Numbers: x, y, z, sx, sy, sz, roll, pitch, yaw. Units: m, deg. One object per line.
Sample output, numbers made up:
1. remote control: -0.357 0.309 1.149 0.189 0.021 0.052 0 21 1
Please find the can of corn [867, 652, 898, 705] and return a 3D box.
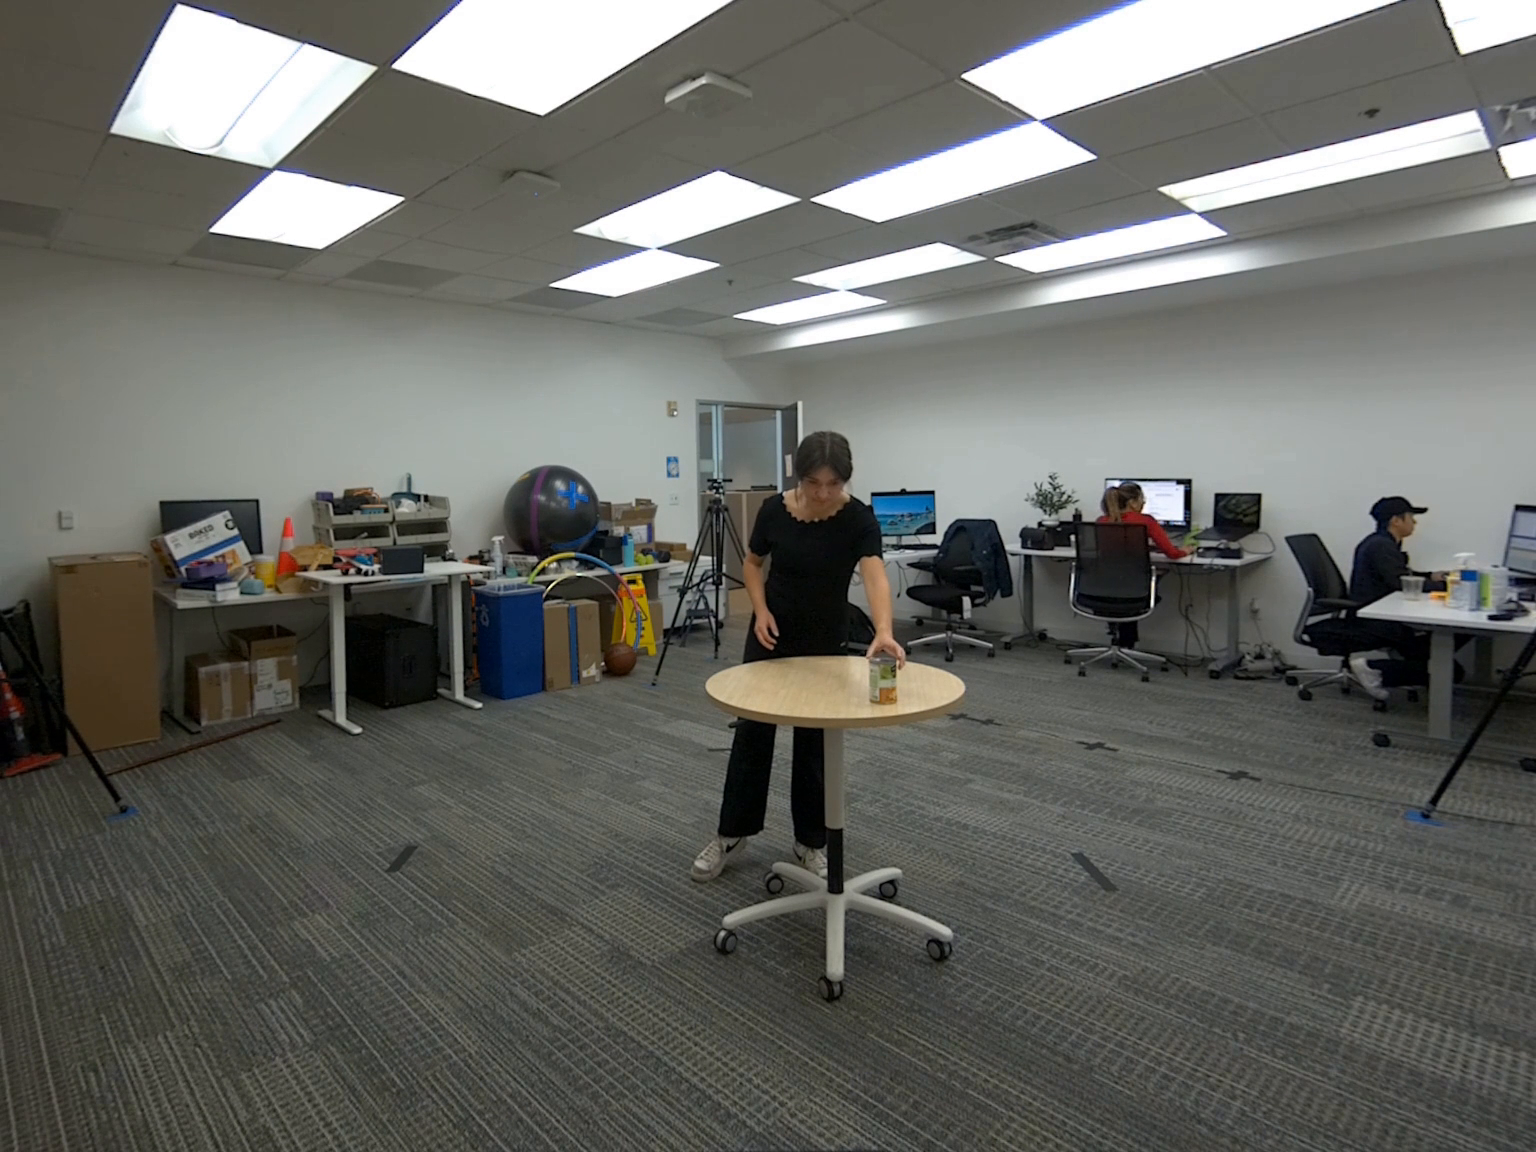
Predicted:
1. can of corn: 0.316 0.289 2.328 0.074 0.111 0.074 -3 4 -1
